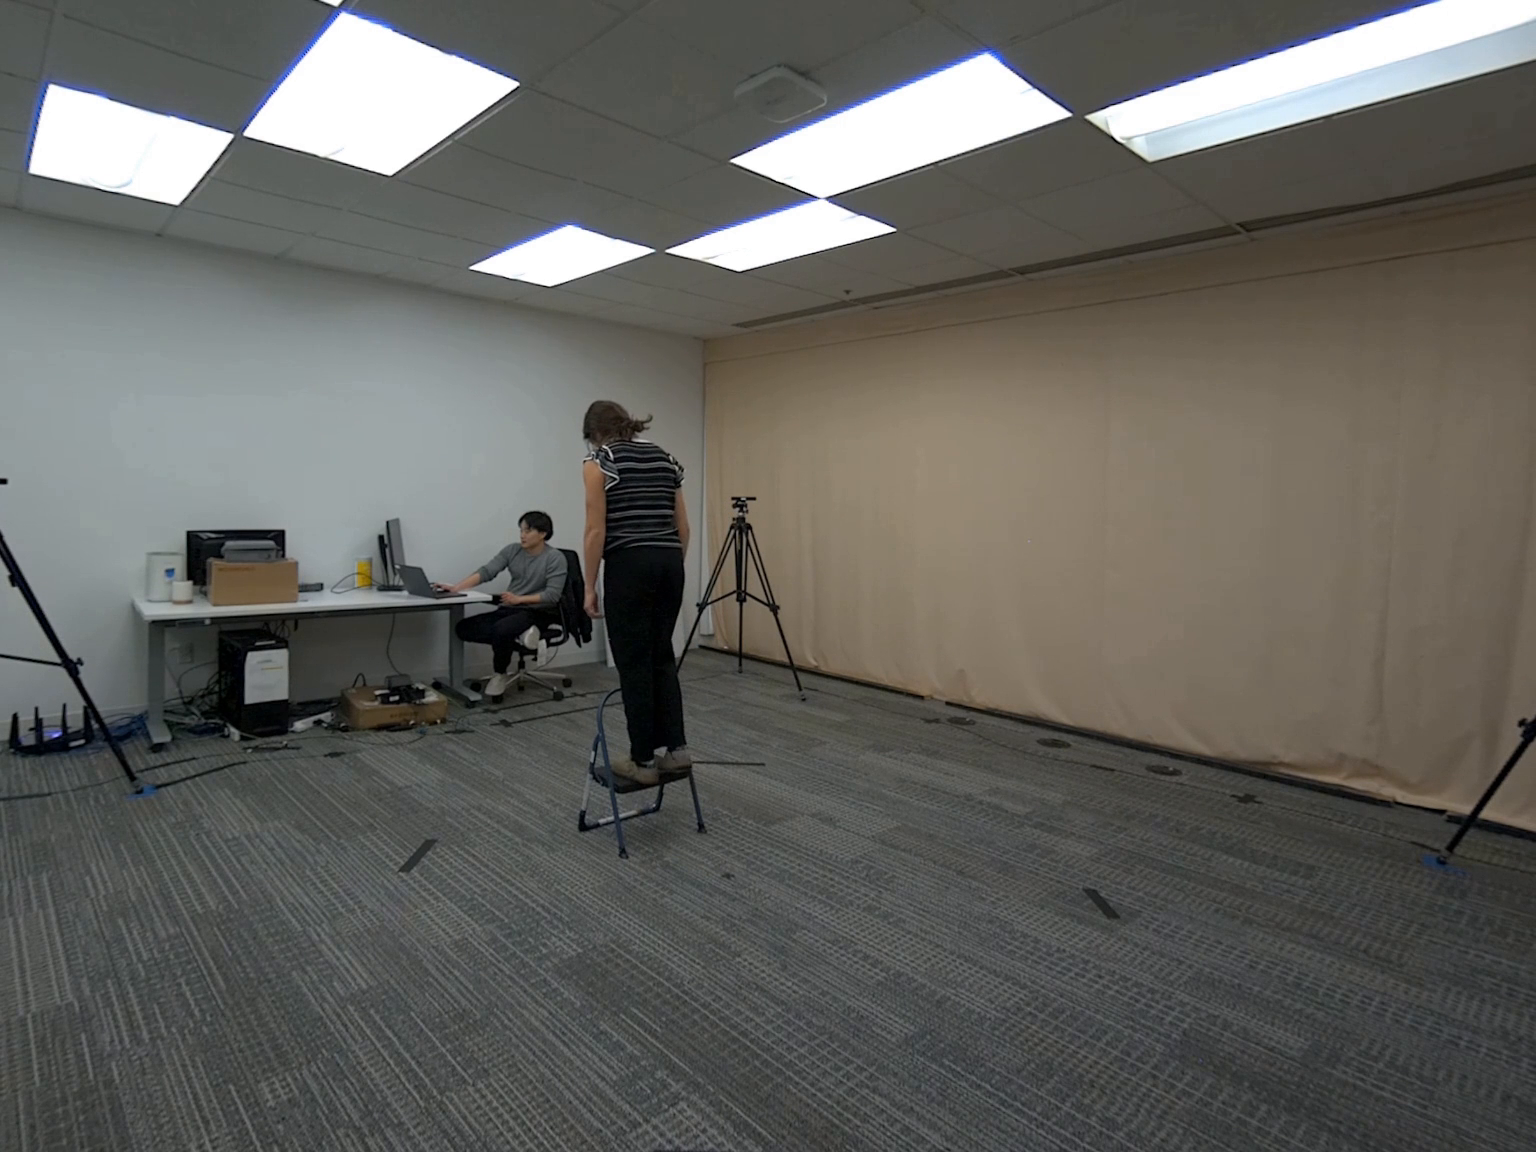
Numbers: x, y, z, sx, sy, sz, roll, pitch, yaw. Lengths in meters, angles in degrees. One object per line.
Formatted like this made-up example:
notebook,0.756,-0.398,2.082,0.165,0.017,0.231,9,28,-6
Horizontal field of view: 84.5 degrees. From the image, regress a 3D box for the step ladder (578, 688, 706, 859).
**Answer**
step ladder,-0.524,0.763,3.487,0.421,0.605,0.358,-2,4,-44
